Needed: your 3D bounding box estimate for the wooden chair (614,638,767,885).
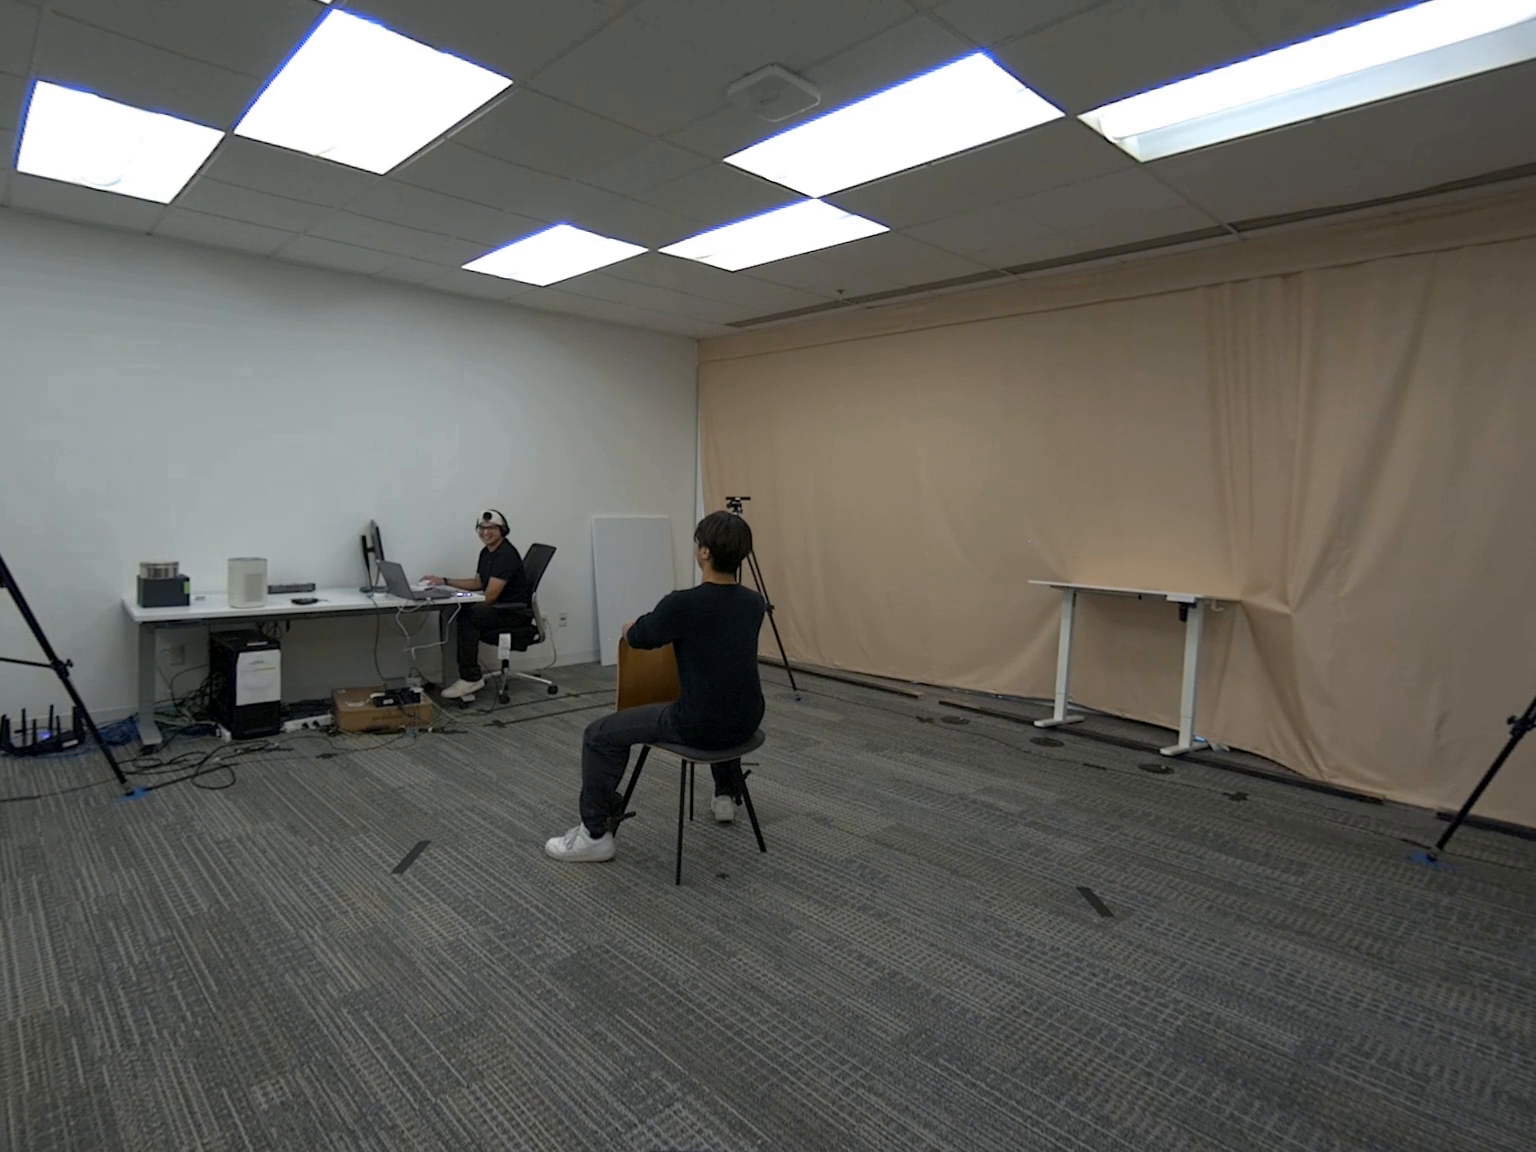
[{"bbox_3d":[-0.307,0.656,3.294,0.467,0.877,0.535,-1,0,-43],"label":"wooden chair"}]
